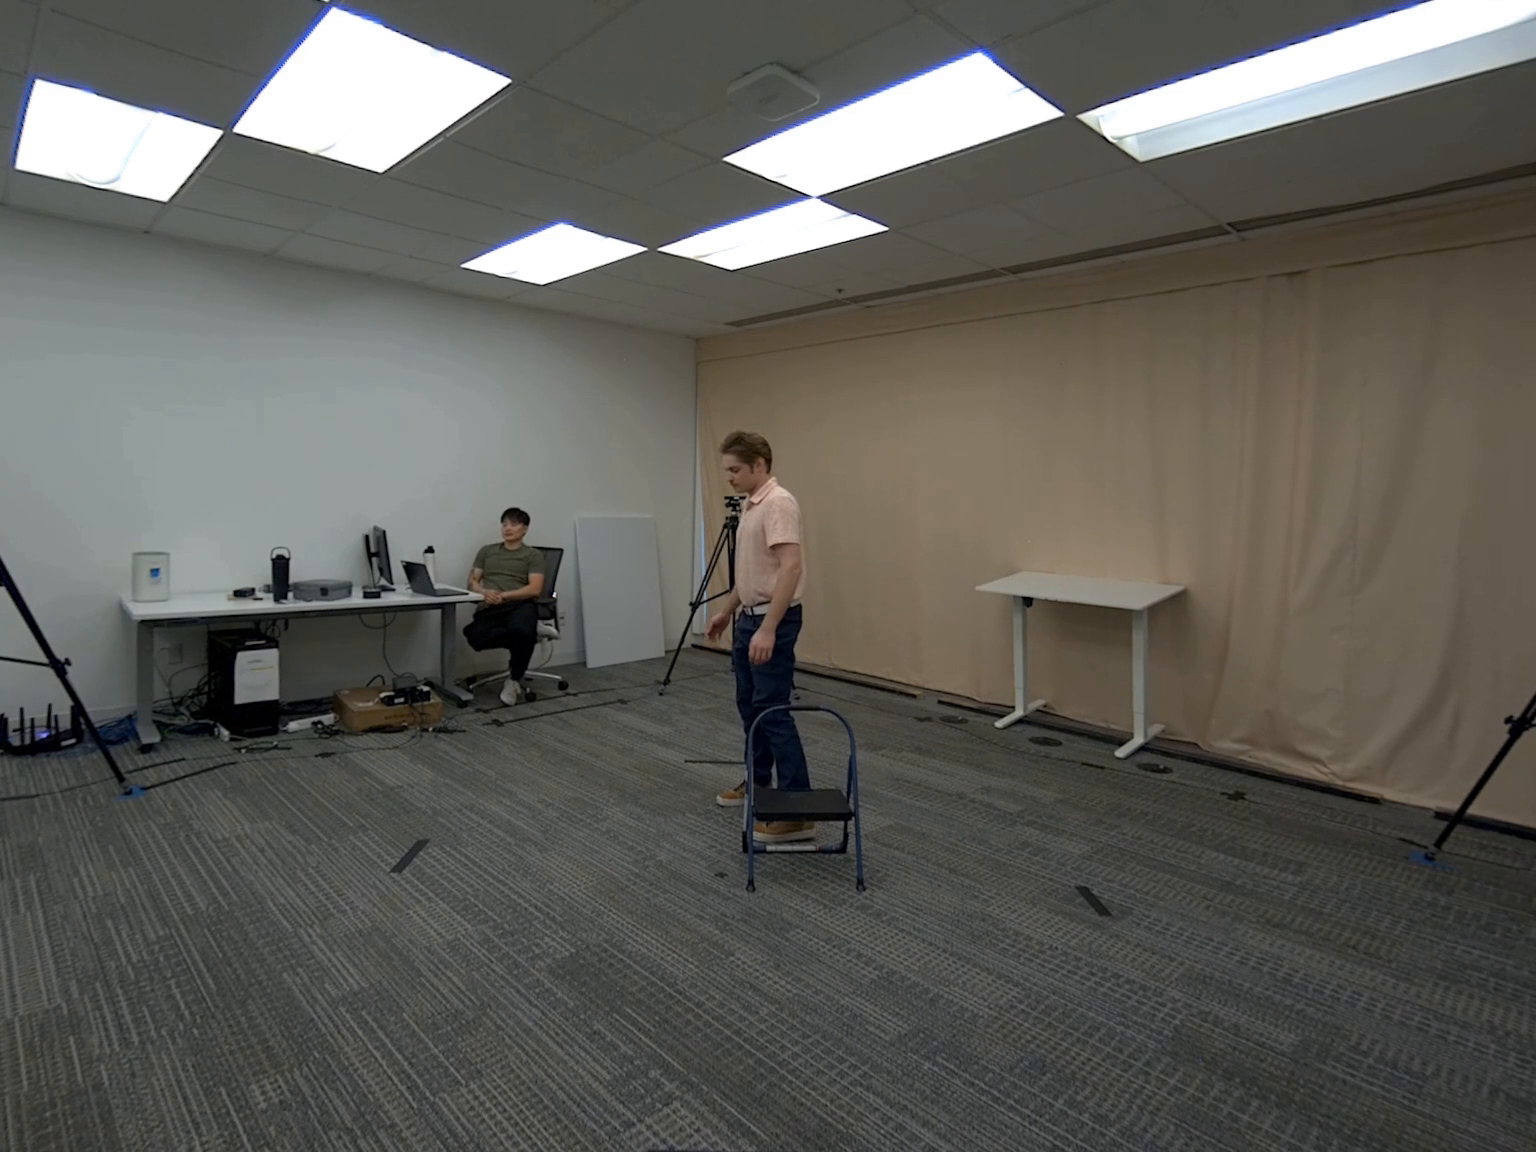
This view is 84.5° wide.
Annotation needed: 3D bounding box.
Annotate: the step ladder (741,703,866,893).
[{"bbox_3d":[0.123,0.809,3.153,0.429,0.605,0.351,1,3,-5],"label":"step ladder"}]
